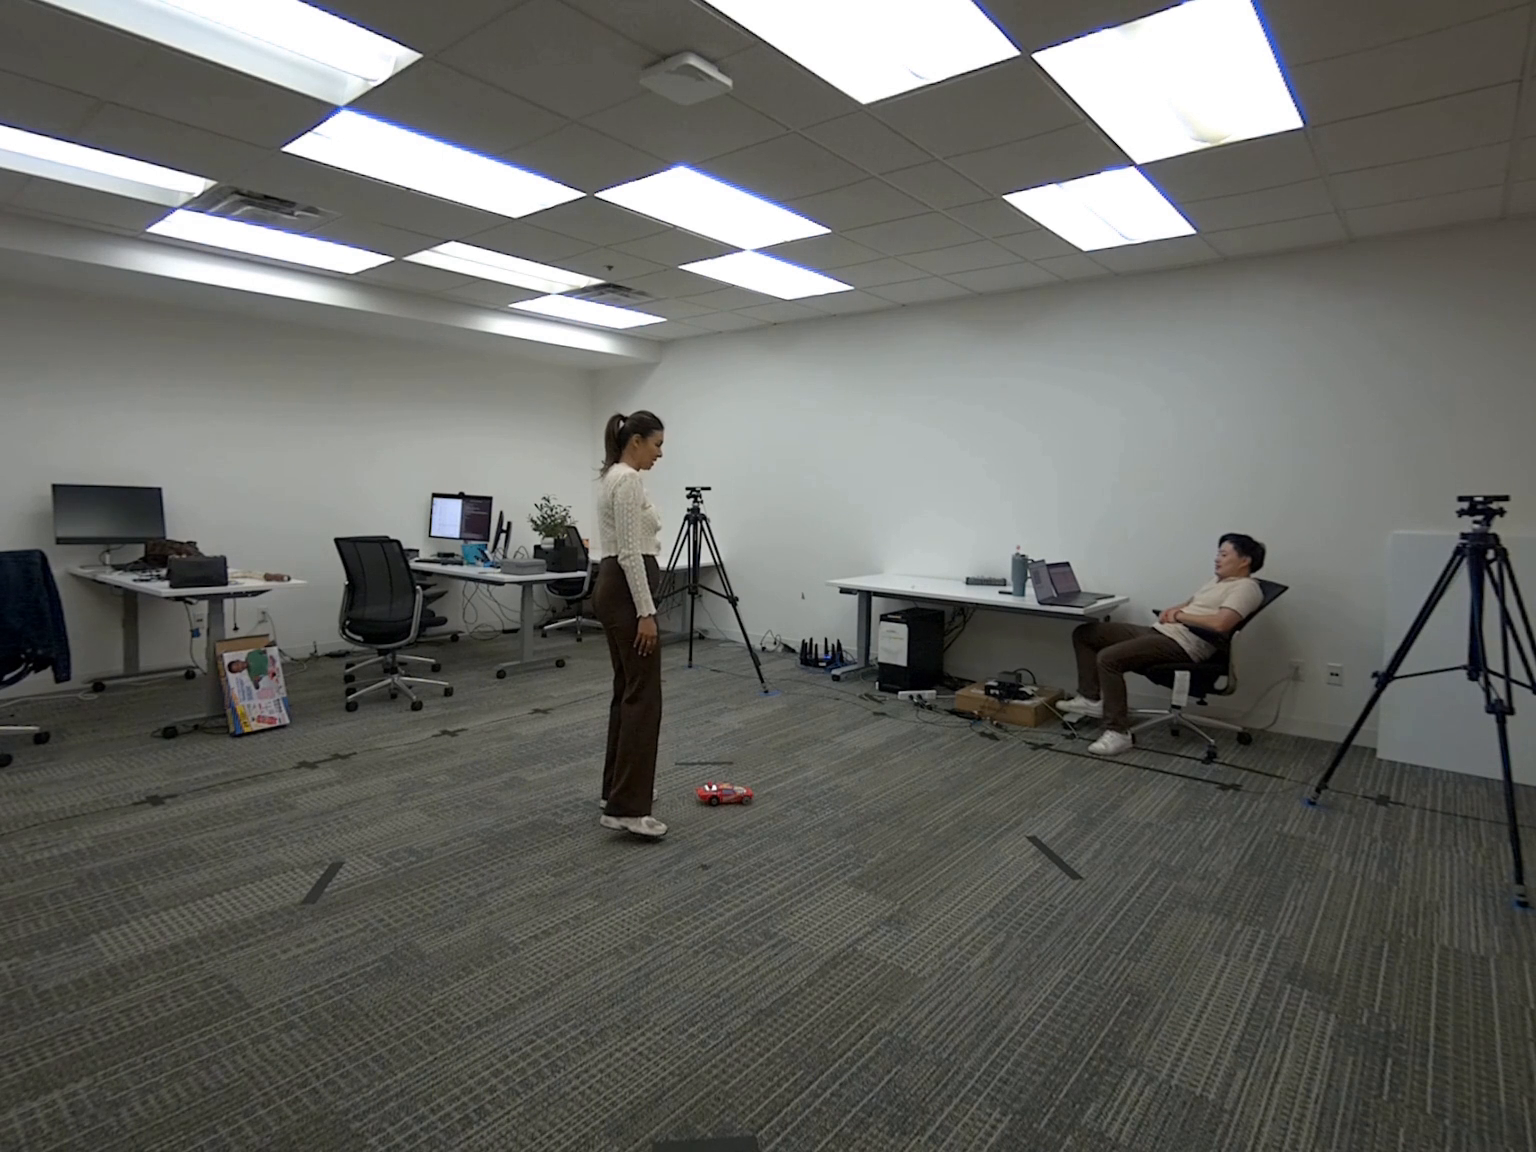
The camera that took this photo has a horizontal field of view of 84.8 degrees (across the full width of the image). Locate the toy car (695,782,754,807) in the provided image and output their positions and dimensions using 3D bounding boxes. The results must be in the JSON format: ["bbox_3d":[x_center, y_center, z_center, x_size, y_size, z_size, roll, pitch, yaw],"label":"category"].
[{"bbox_3d":[-0.208,0.968,3.780,0.251,0.083,0.132,11,3,-11],"label":"toy car"}]
